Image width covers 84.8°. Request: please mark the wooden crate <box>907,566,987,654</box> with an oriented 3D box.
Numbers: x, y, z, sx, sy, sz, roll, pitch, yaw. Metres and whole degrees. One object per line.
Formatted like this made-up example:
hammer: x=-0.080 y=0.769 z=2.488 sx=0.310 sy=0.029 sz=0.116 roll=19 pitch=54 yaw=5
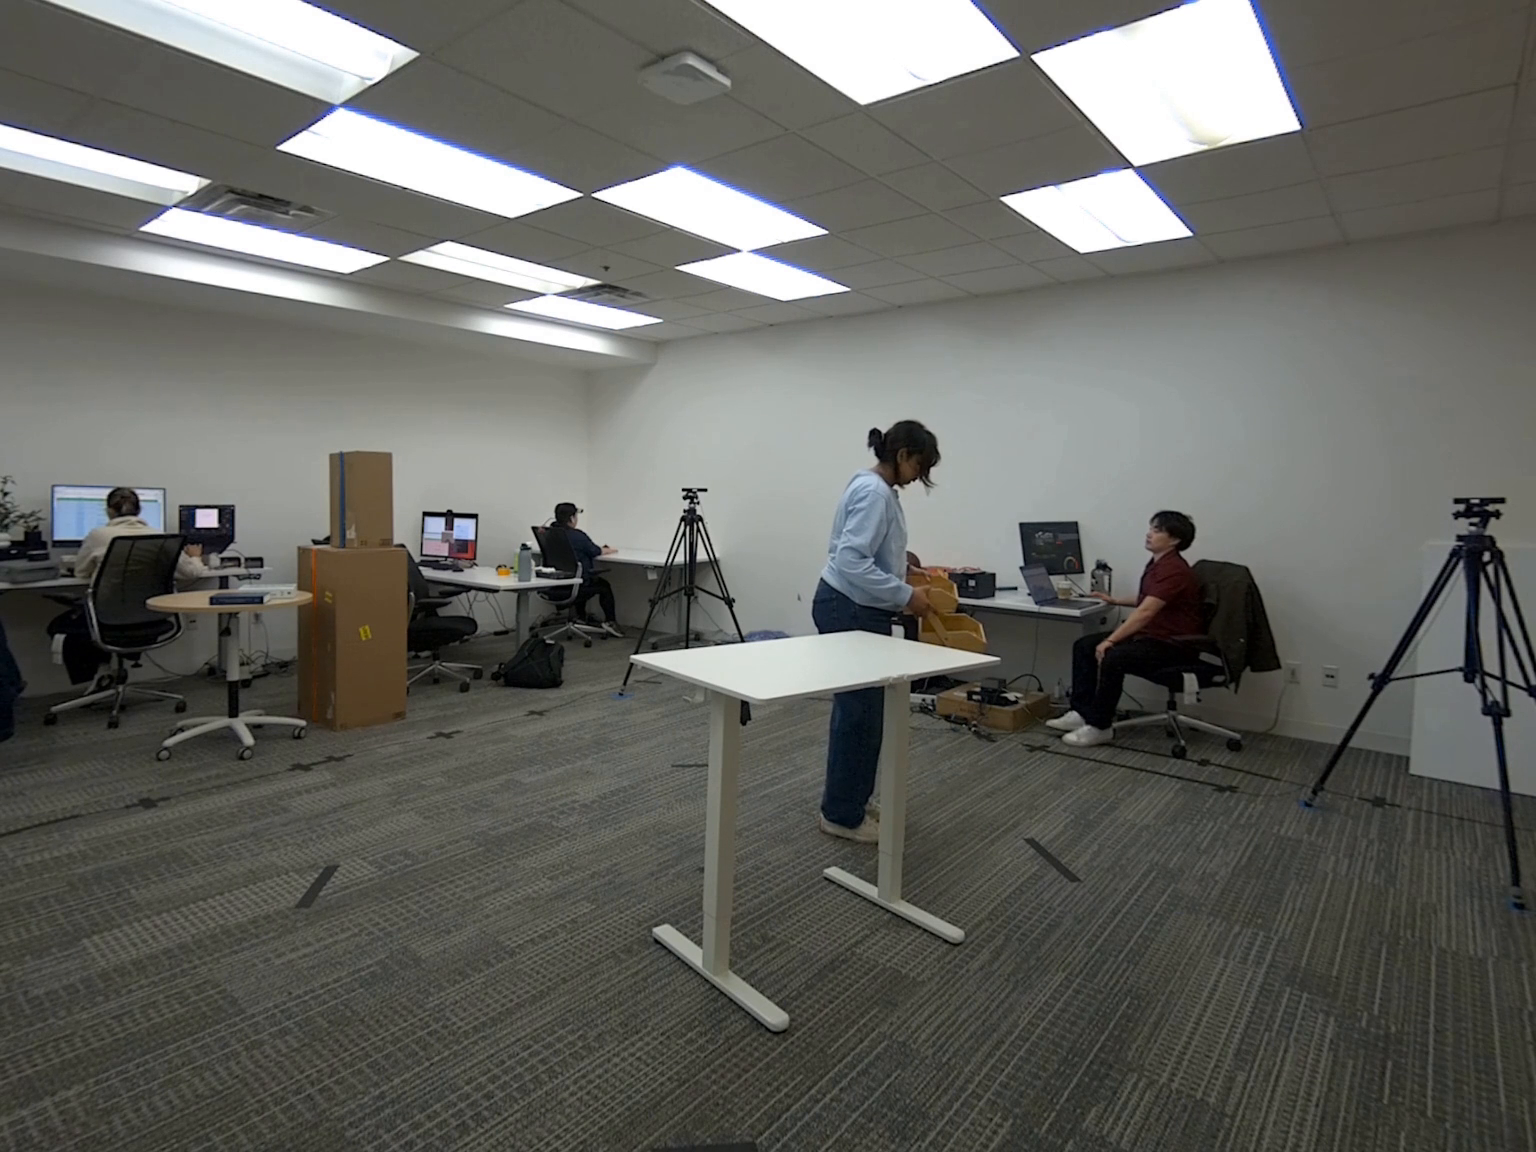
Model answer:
wooden crate: x=0.689 y=0.141 z=3.384 sx=0.306 sy=0.271 sz=0.322 roll=-3 pitch=8 yaw=13
